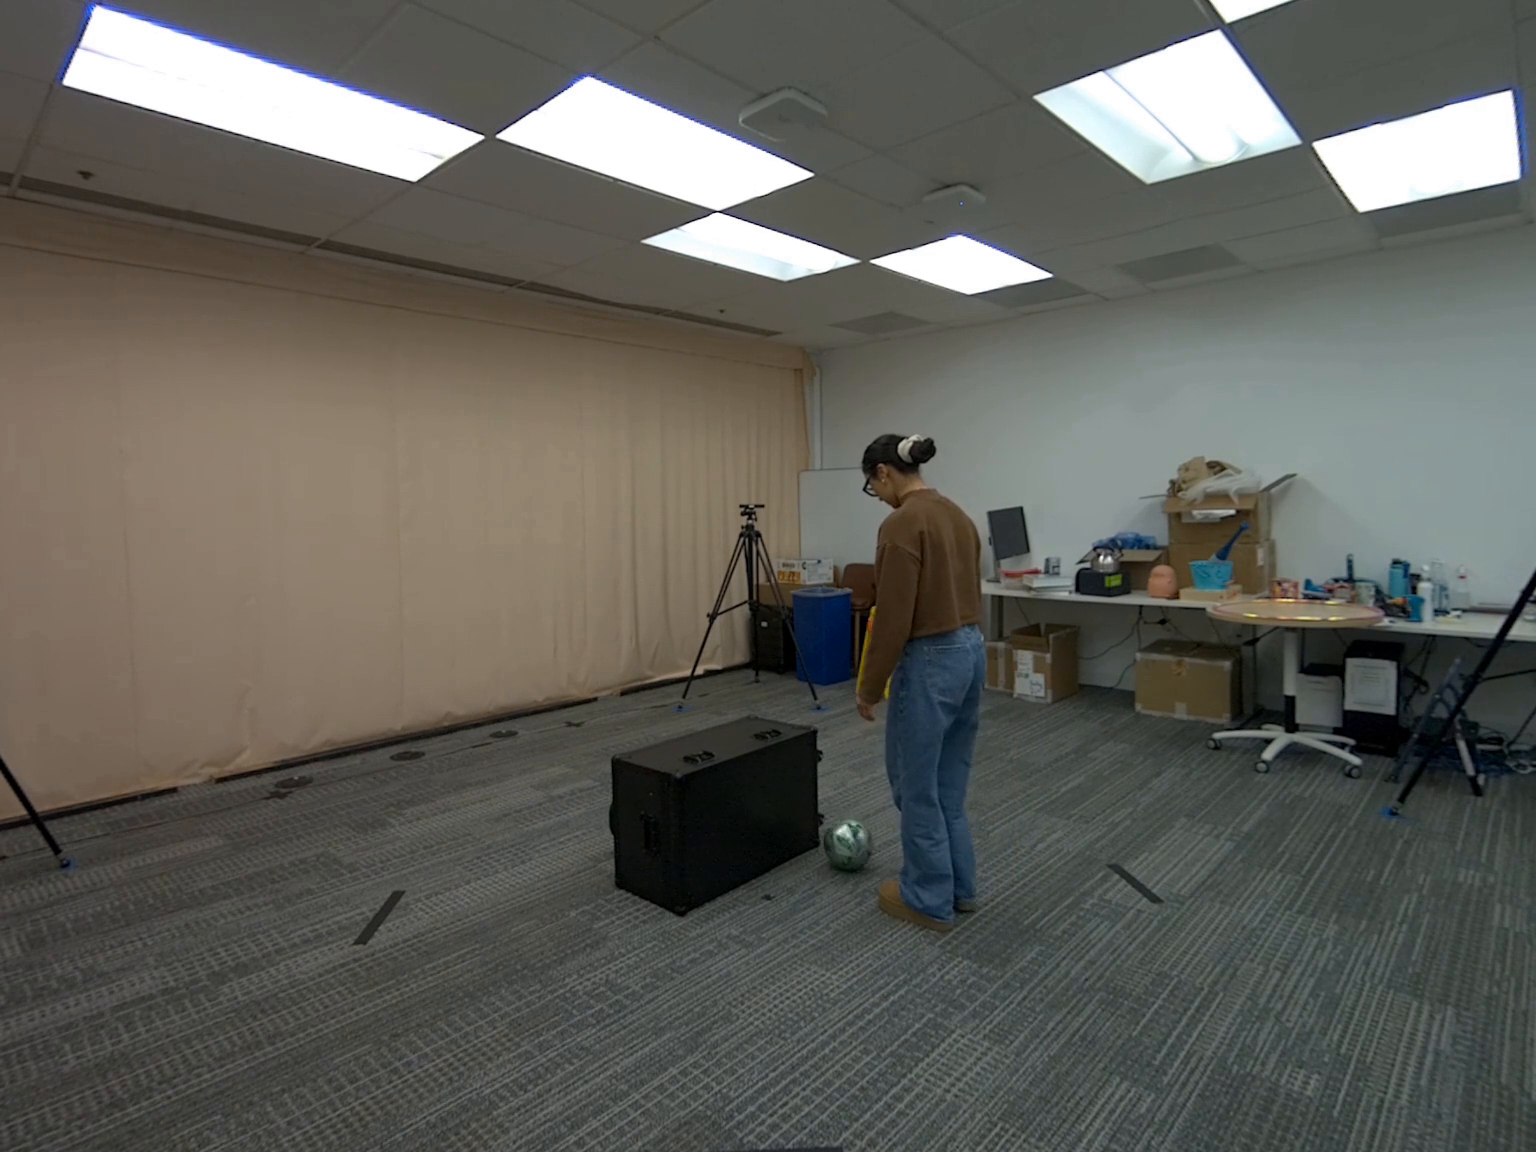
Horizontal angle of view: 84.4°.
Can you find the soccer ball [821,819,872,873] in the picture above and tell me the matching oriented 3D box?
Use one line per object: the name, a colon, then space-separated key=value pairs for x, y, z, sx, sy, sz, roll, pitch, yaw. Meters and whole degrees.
soccer ball: x=0.309 y=1.020 z=3.195 sx=0.187 sy=0.187 sz=0.188 roll=-1 pitch=4 yaw=-2
